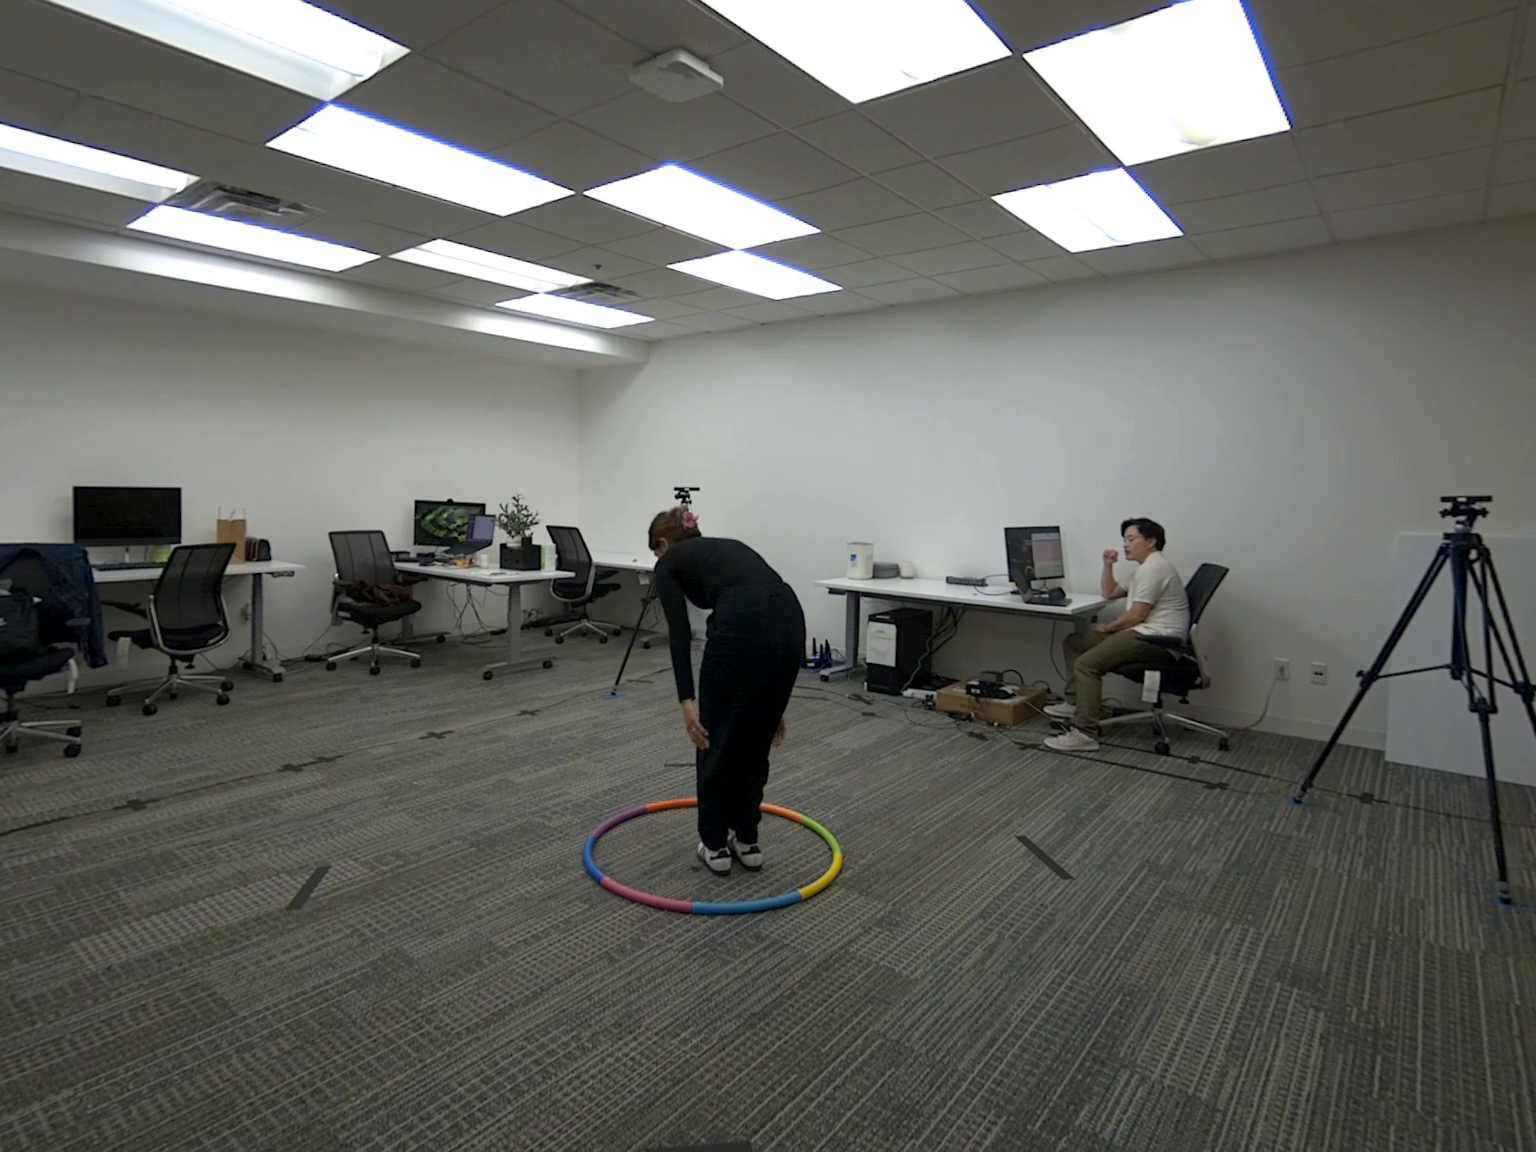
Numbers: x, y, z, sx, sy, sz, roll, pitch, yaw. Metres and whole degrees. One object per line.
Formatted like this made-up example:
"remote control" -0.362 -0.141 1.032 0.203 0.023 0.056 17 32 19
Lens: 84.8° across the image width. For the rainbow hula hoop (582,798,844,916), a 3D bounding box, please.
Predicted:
"rainbow hula hoop" -0.222 1.024 3.248 0.978 0.035 0.984 0 6 -2
